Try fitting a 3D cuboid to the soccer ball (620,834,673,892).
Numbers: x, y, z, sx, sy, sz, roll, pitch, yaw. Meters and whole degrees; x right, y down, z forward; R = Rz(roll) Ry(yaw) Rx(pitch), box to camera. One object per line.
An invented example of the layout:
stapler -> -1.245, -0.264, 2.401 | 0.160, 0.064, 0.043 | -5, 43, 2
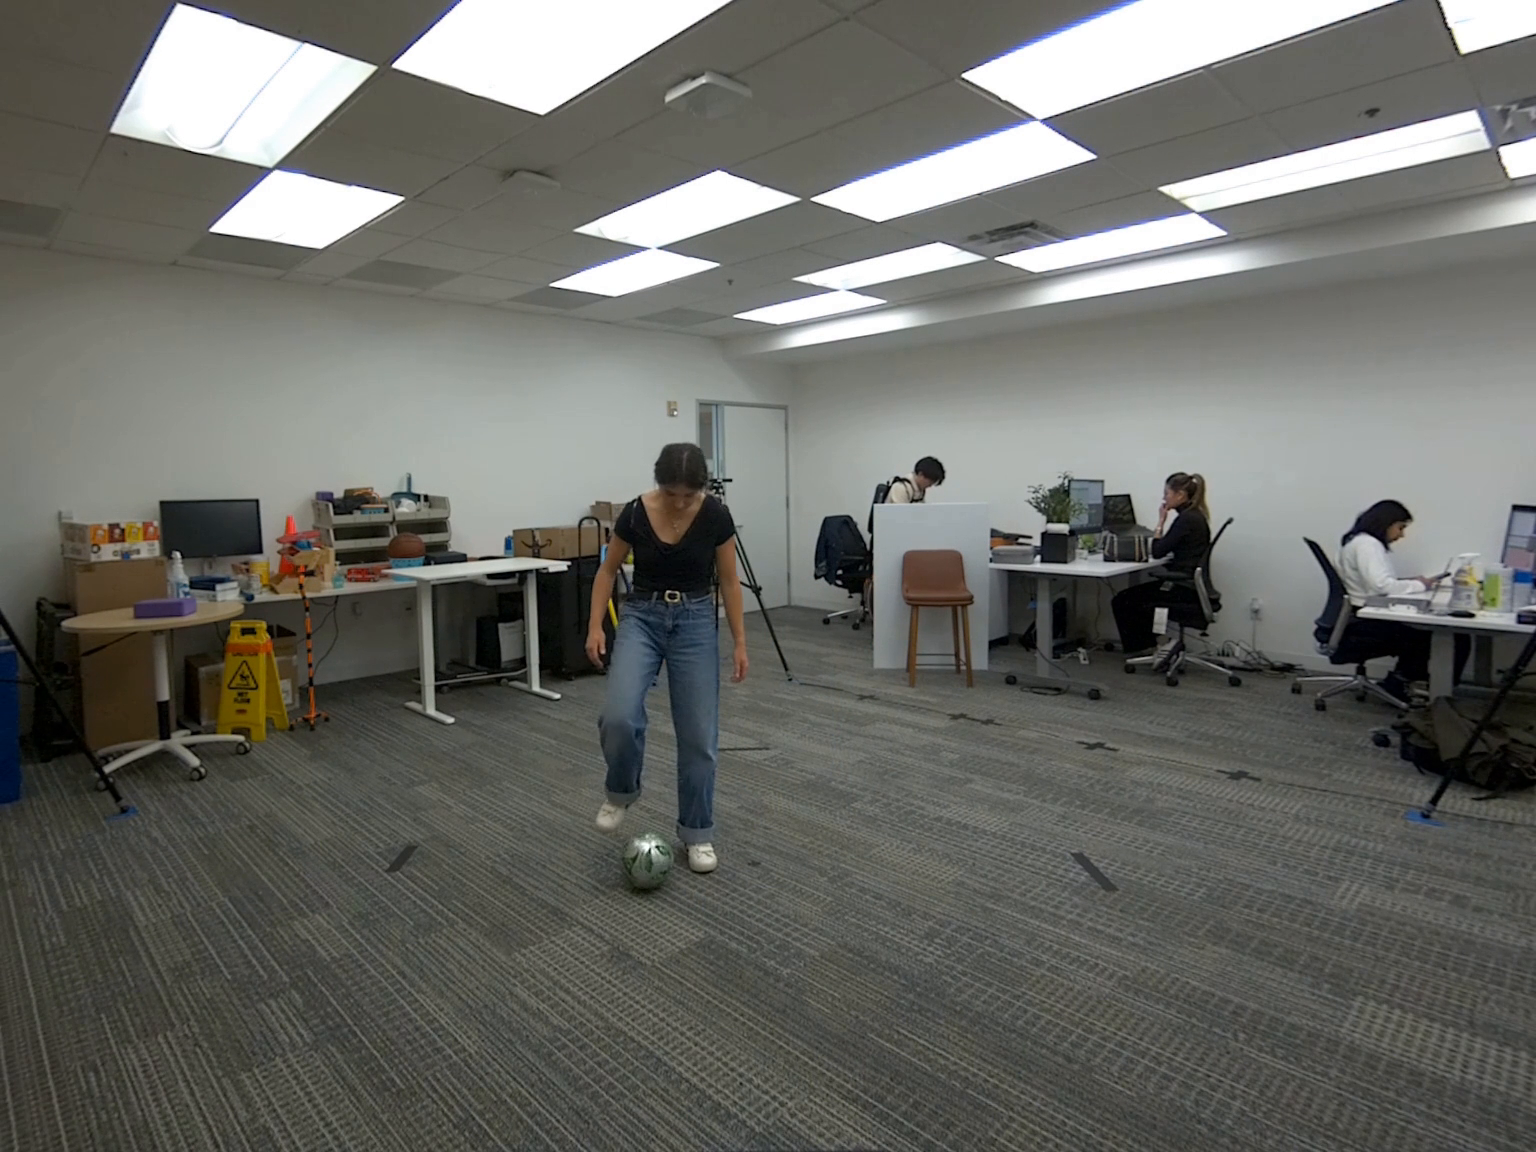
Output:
soccer ball -> -0.418, 0.977, 2.941 | 0.187, 0.187, 0.188 | -1, 5, -2
